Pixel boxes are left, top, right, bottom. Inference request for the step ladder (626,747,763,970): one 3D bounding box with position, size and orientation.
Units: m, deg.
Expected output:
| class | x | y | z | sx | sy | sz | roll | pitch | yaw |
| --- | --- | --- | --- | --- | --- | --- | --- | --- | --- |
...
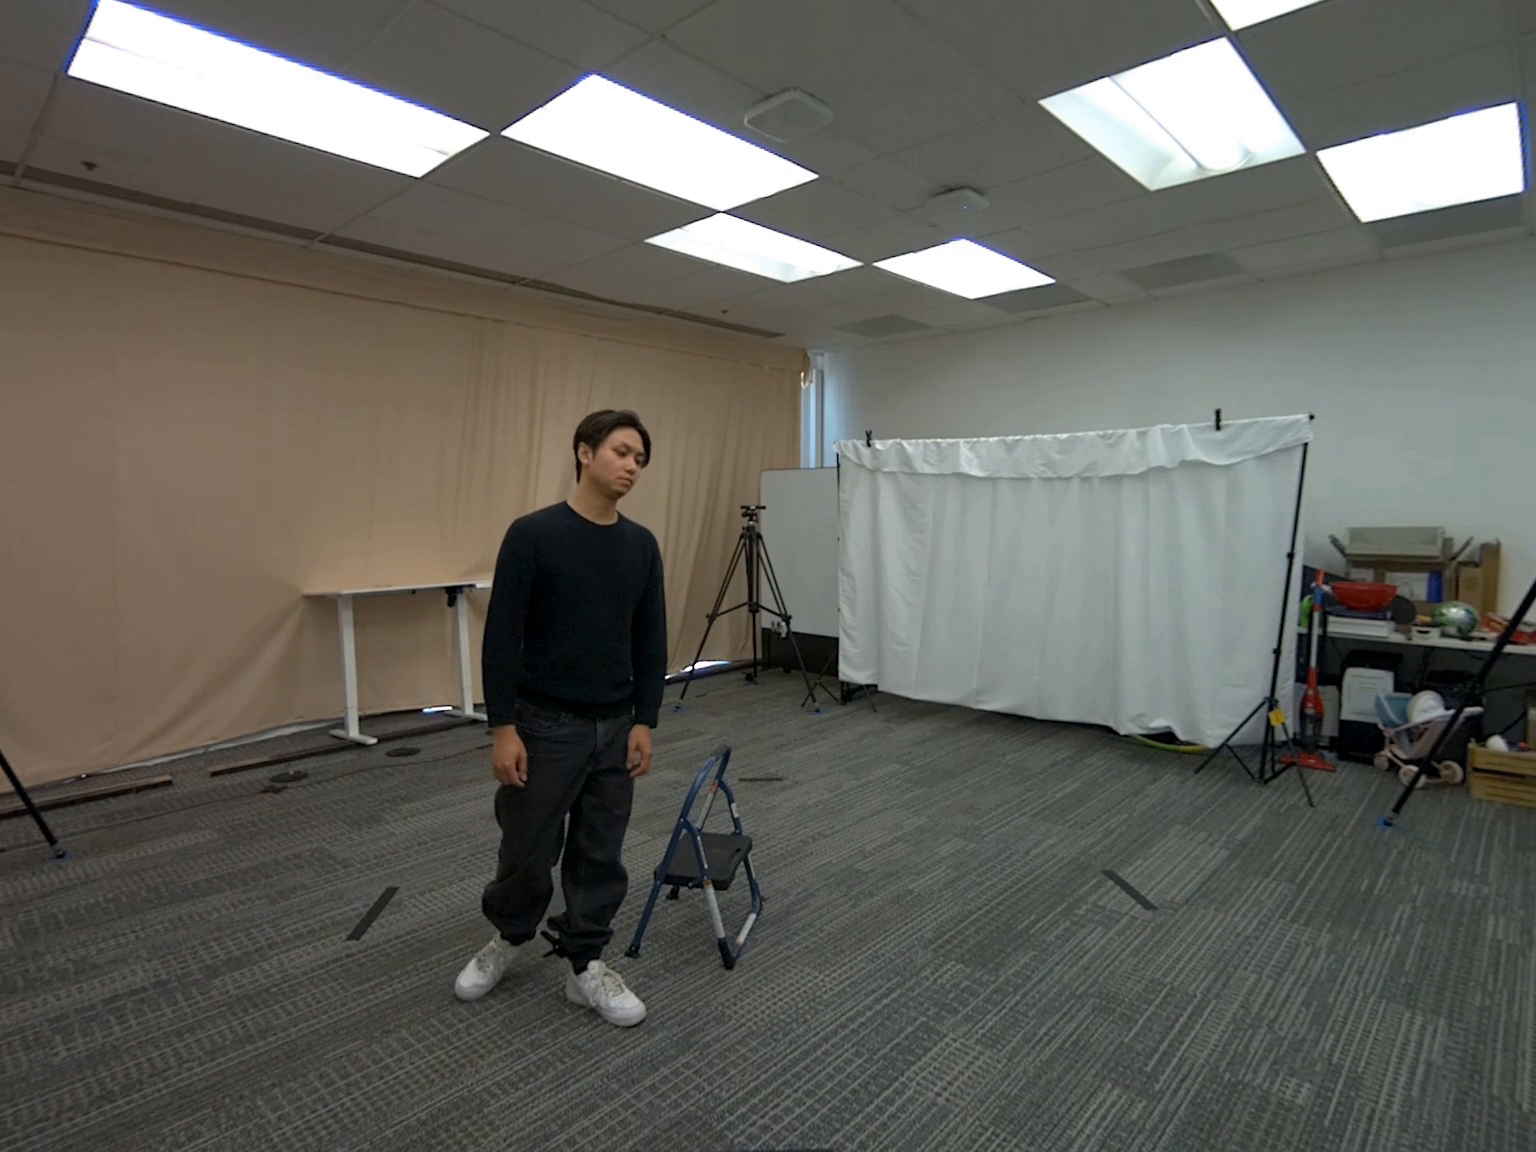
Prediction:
| class | x | y | z | sx | sy | sz | roll | pitch | yaw |
| --- | --- | --- | --- | --- | --- | --- | --- | --- | --- |
| step ladder | -0.231 | 0.864 | 2.746 | 0.355 | 0.605 | 0.425 | 0 | 4 | 14 |
